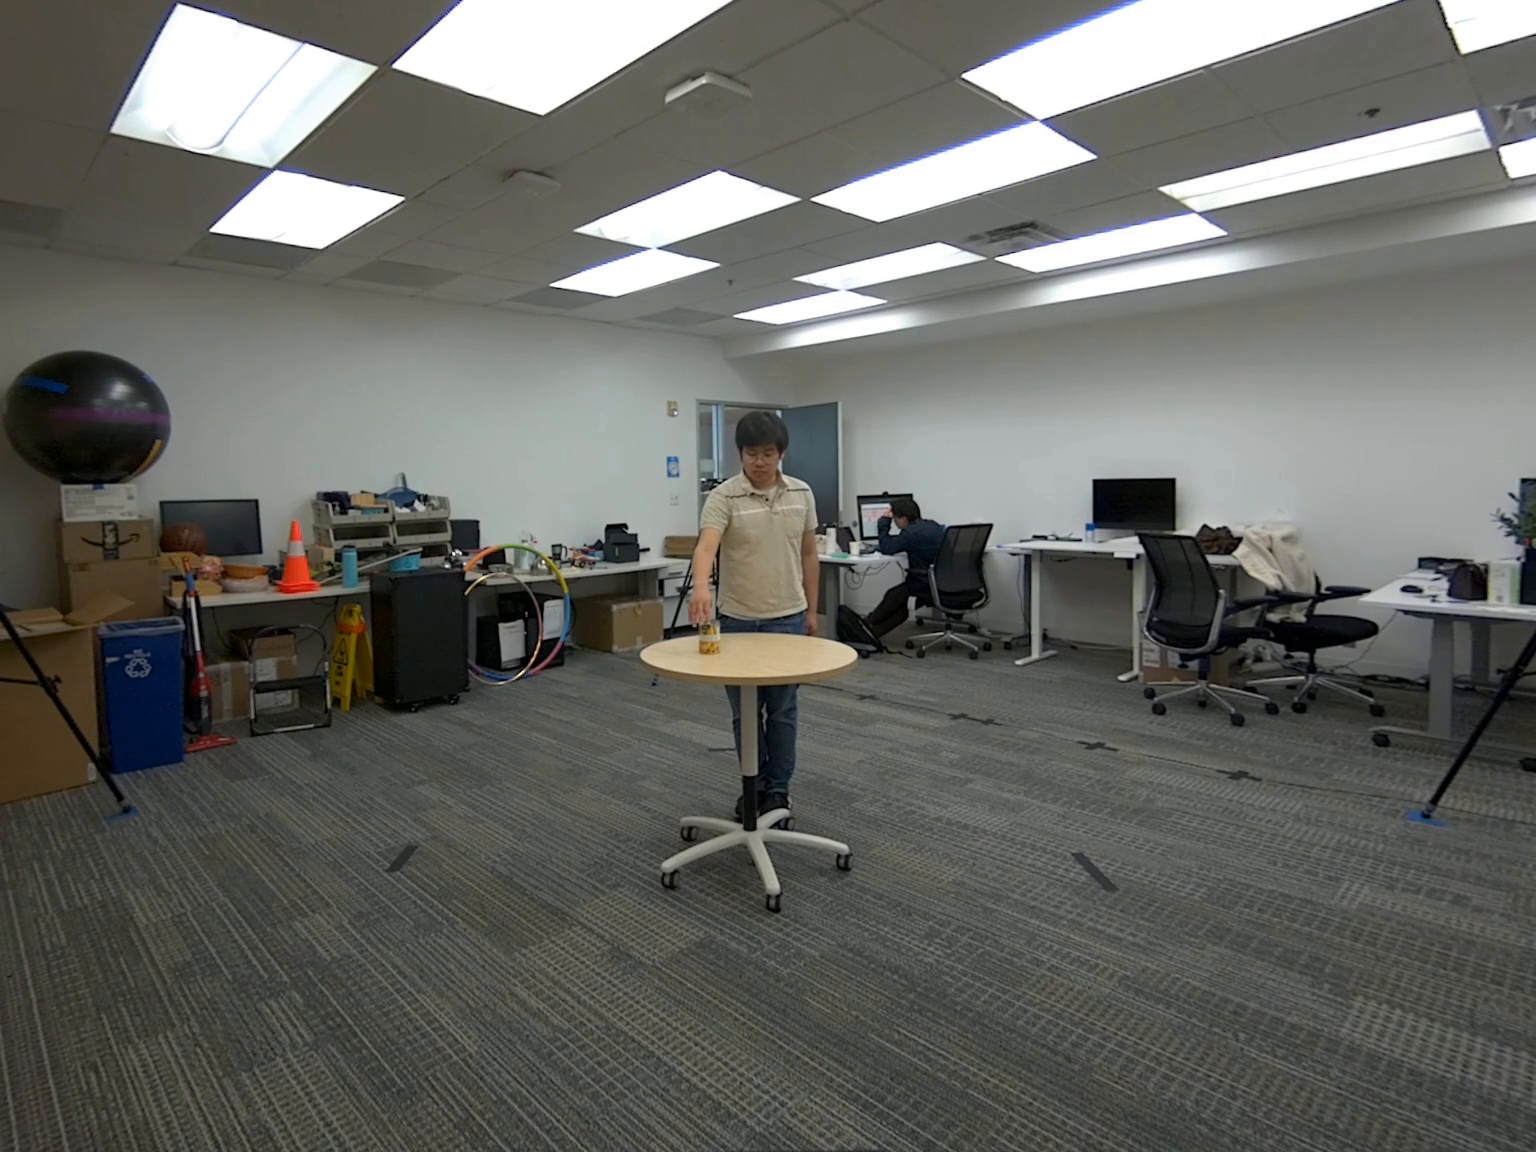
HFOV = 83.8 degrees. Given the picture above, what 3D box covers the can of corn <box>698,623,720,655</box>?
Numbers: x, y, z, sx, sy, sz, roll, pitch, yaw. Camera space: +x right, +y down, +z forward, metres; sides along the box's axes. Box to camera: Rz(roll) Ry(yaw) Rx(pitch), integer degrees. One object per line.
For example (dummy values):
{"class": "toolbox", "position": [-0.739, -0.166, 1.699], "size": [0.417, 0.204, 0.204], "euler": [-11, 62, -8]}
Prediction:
{"class": "can of corn", "position": [-0.212, 0.221, 3.014], "size": [0.074, 0.111, 0.074], "euler": [-3, 3, -2]}
